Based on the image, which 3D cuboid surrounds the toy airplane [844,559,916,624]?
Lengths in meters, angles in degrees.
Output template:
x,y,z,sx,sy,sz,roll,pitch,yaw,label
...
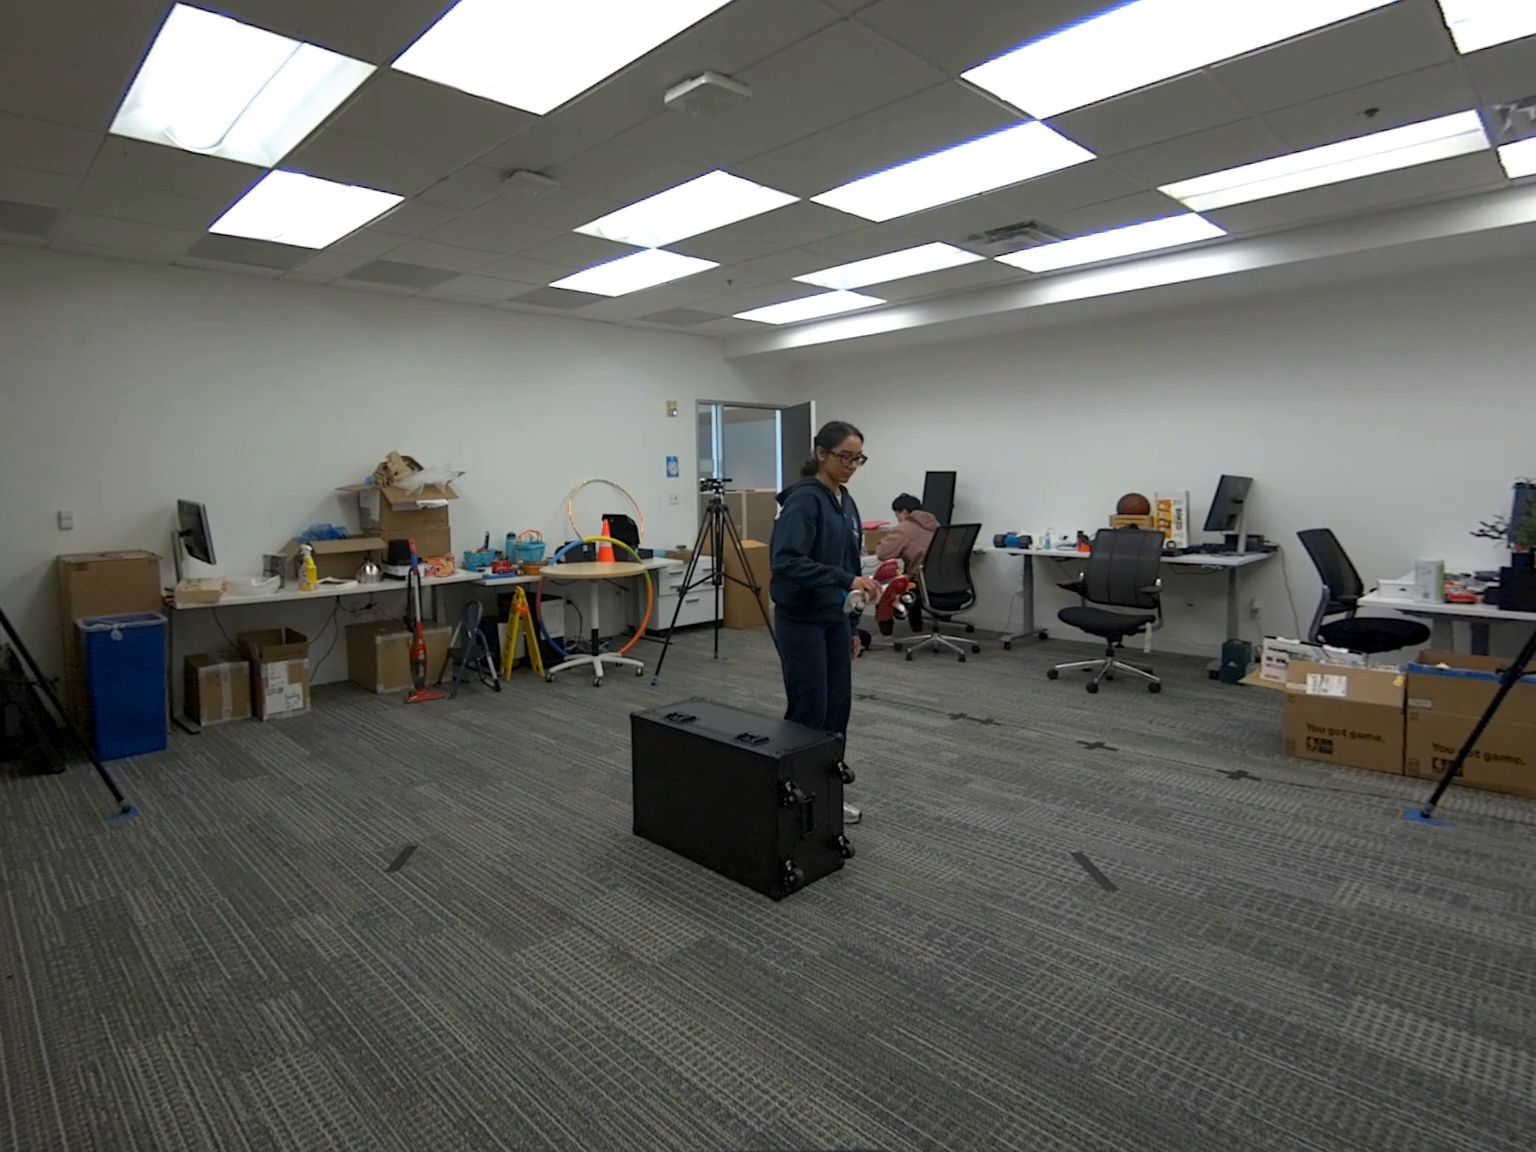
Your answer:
x,y,z,sx,sy,sz,roll,pitch,yaw,label
0.390,0.066,3.097,0.250,0.162,0.251,21,-52,-34,toy airplane
